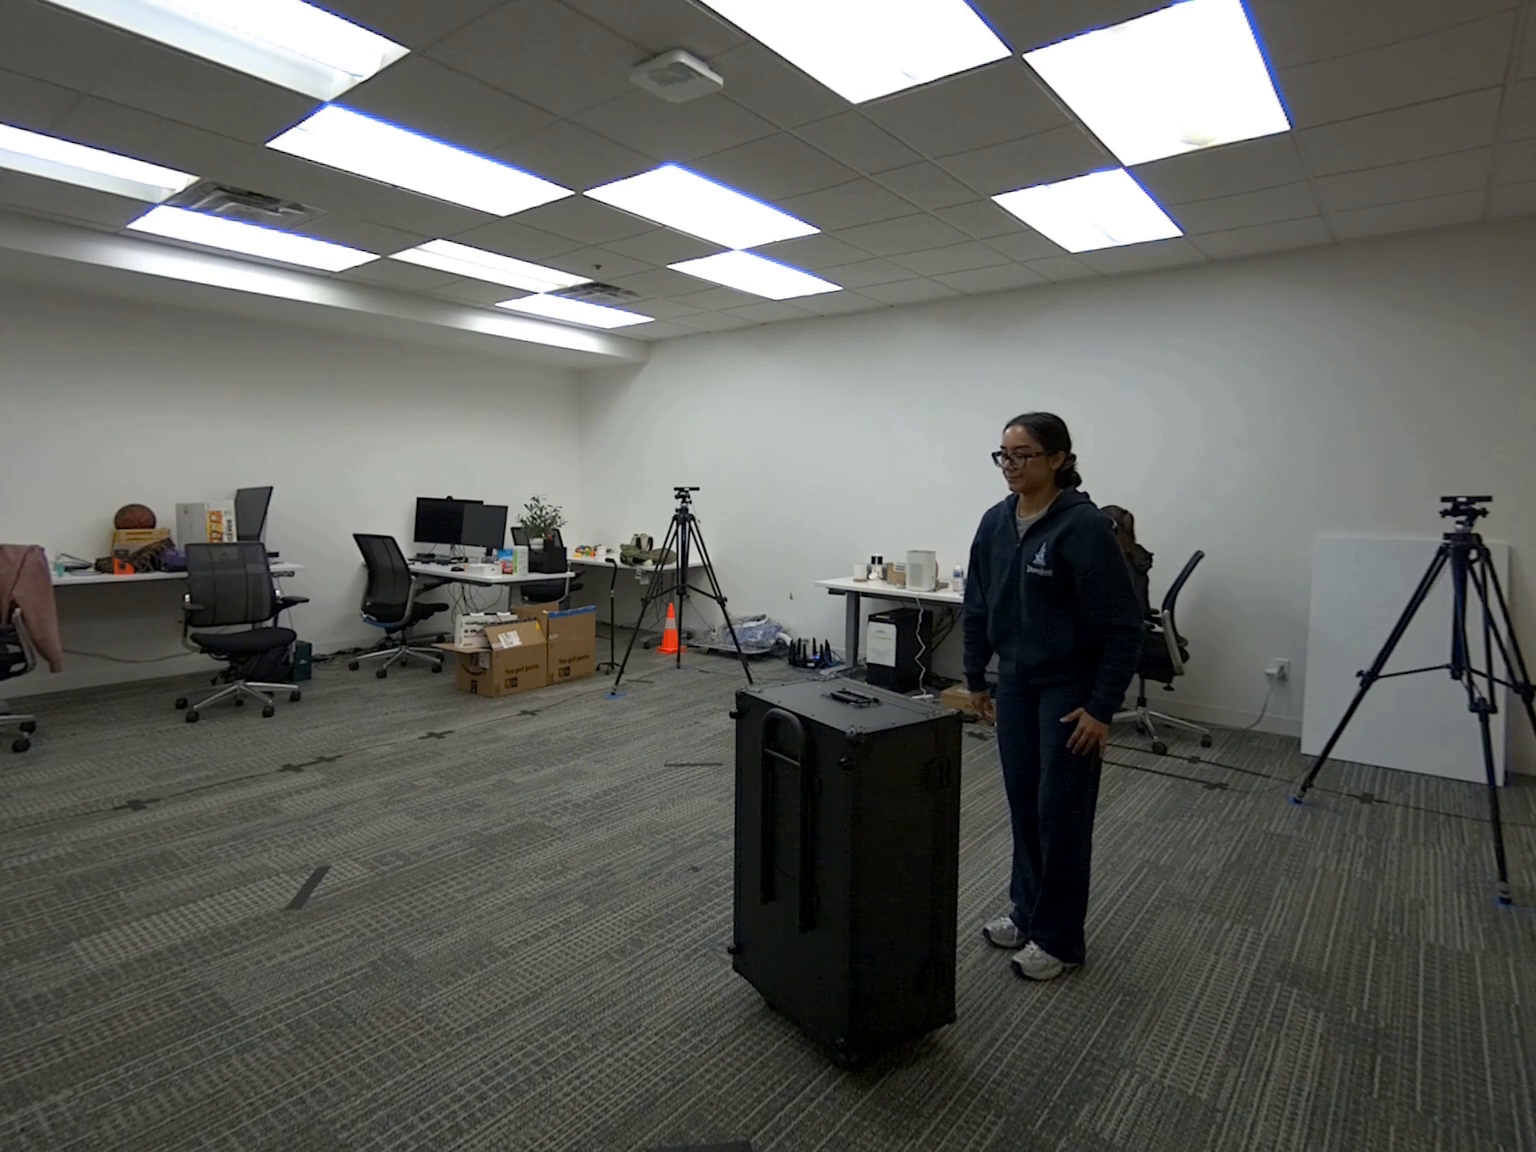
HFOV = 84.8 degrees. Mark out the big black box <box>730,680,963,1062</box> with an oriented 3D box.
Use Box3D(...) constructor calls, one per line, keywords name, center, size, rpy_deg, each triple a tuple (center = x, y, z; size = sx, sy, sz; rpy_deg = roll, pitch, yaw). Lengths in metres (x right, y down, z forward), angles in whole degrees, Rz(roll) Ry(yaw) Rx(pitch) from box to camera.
Box3D(name="big black box", center=(0.181, 0.743, 2.199), size=(0.385, 0.858, 0.538), rpy_deg=(-3, 5, -34))
